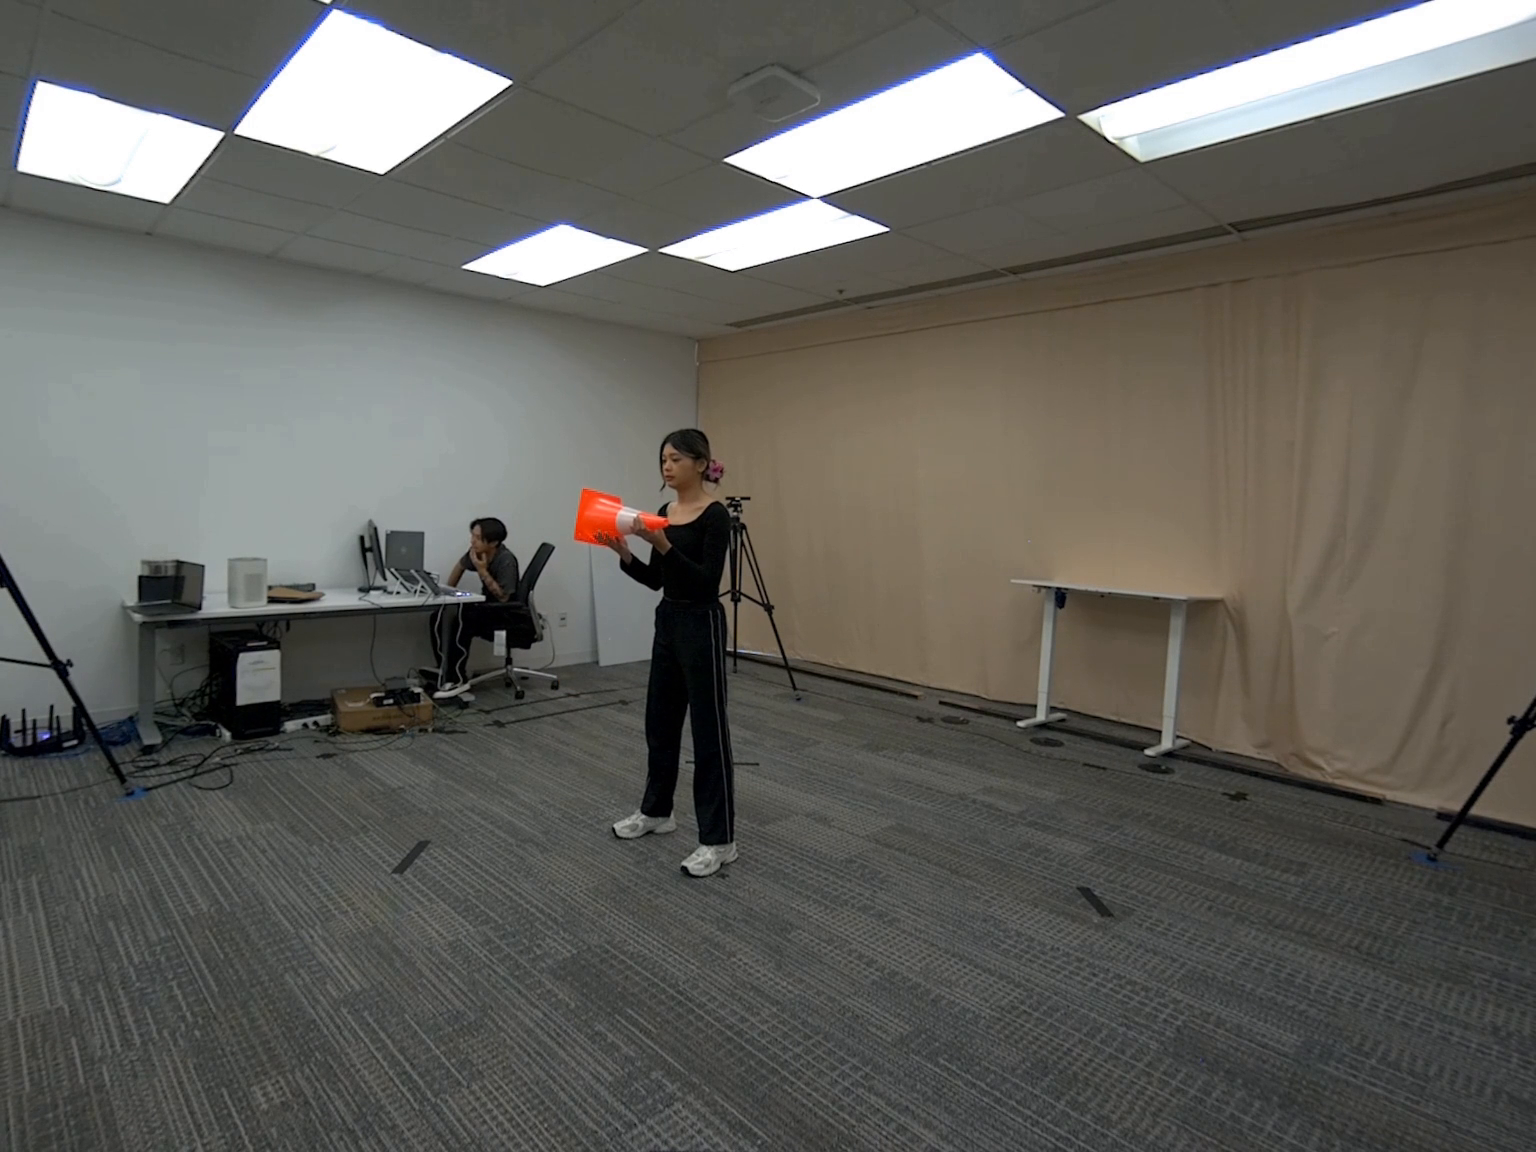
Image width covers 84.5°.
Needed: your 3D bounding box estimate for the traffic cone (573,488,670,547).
[{"bbox_3d":[-0.511,-0.201,3.053,0.393,0.205,0.197,6,-6,41],"label":"traffic cone"}]
